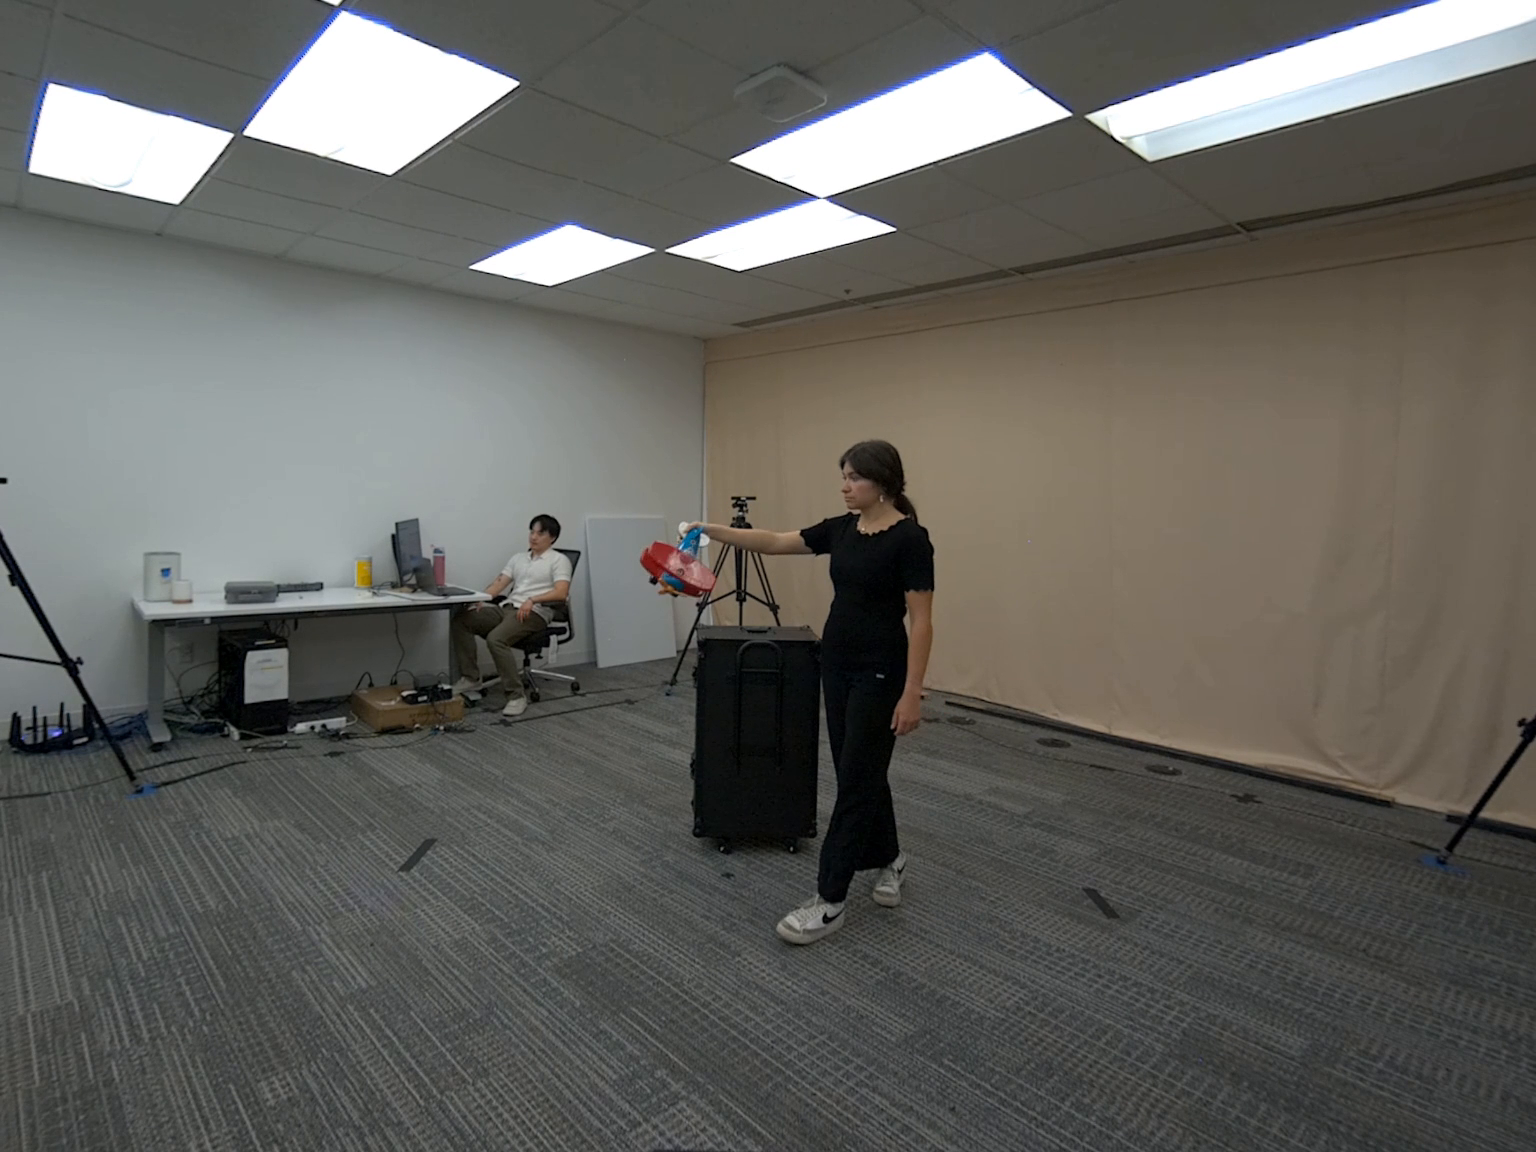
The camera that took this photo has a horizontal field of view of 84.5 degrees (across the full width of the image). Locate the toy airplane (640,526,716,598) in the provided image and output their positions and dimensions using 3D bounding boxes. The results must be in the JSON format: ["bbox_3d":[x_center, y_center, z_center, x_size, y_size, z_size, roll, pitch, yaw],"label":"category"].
[{"bbox_3d":[-0.321,-0.073,2.866,0.247,0.260,0.158,3,-6,-21],"label":"toy airplane"}]
